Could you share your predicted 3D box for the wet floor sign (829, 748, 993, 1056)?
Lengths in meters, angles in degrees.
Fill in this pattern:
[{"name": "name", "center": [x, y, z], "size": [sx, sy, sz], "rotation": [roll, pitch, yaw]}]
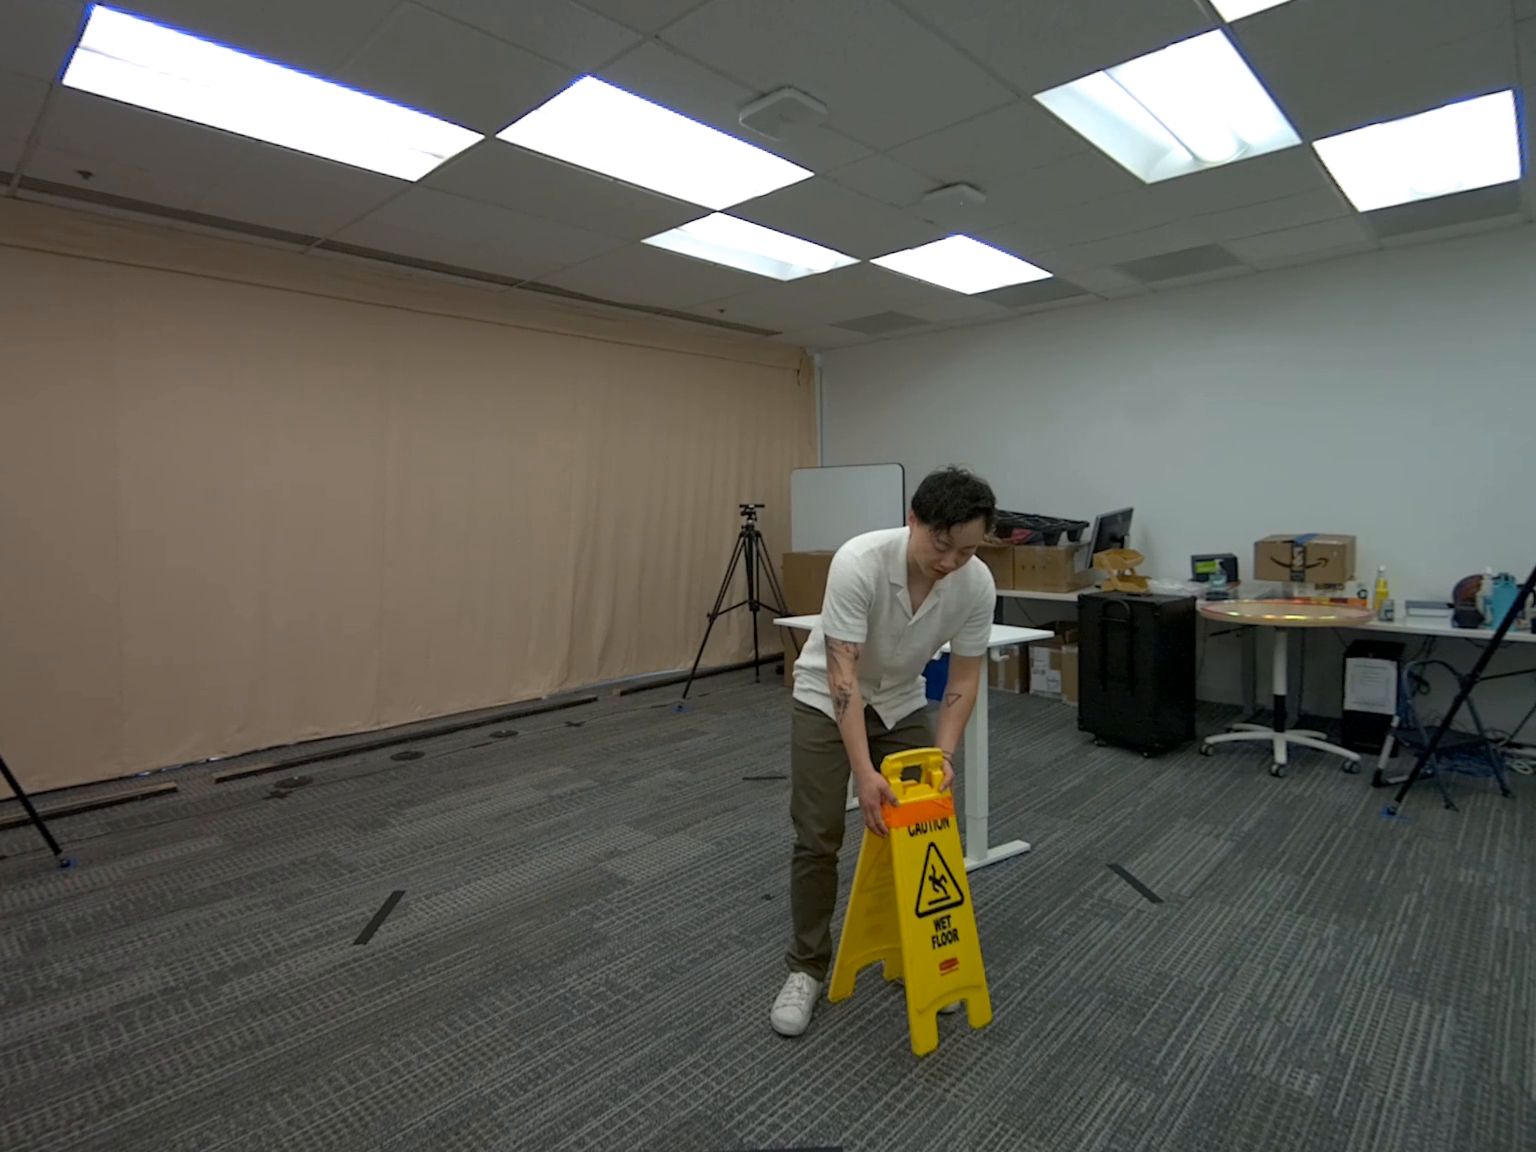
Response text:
[{"name": "wet floor sign", "center": [0.362, 0.761, 2.104], "size": [0.273, 0.646, 0.299], "rotation": [2, -1, -37]}]
